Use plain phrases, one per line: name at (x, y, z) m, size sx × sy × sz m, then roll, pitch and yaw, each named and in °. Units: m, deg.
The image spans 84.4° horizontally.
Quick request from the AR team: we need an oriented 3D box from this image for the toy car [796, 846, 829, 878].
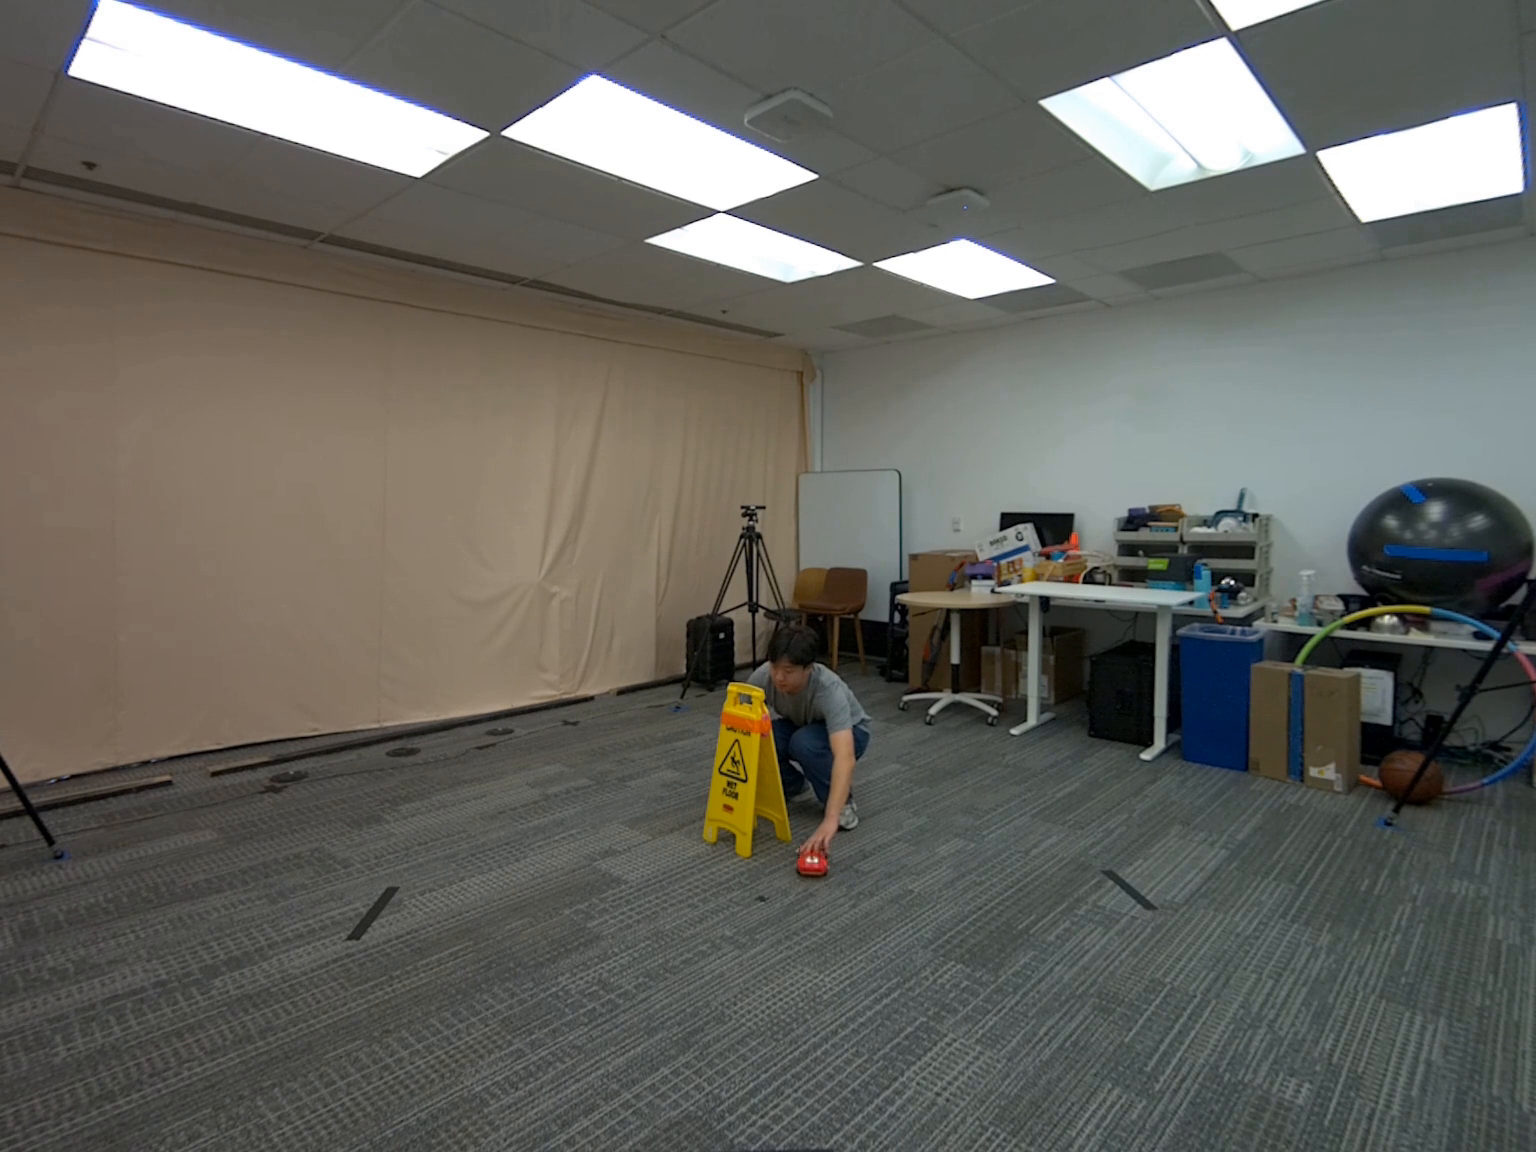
toy car at (0.172, 1.085, 3.230) m, size 0.131 × 0.083 × 0.251 m, roll -1°, pitch -7°, yaw 6°
